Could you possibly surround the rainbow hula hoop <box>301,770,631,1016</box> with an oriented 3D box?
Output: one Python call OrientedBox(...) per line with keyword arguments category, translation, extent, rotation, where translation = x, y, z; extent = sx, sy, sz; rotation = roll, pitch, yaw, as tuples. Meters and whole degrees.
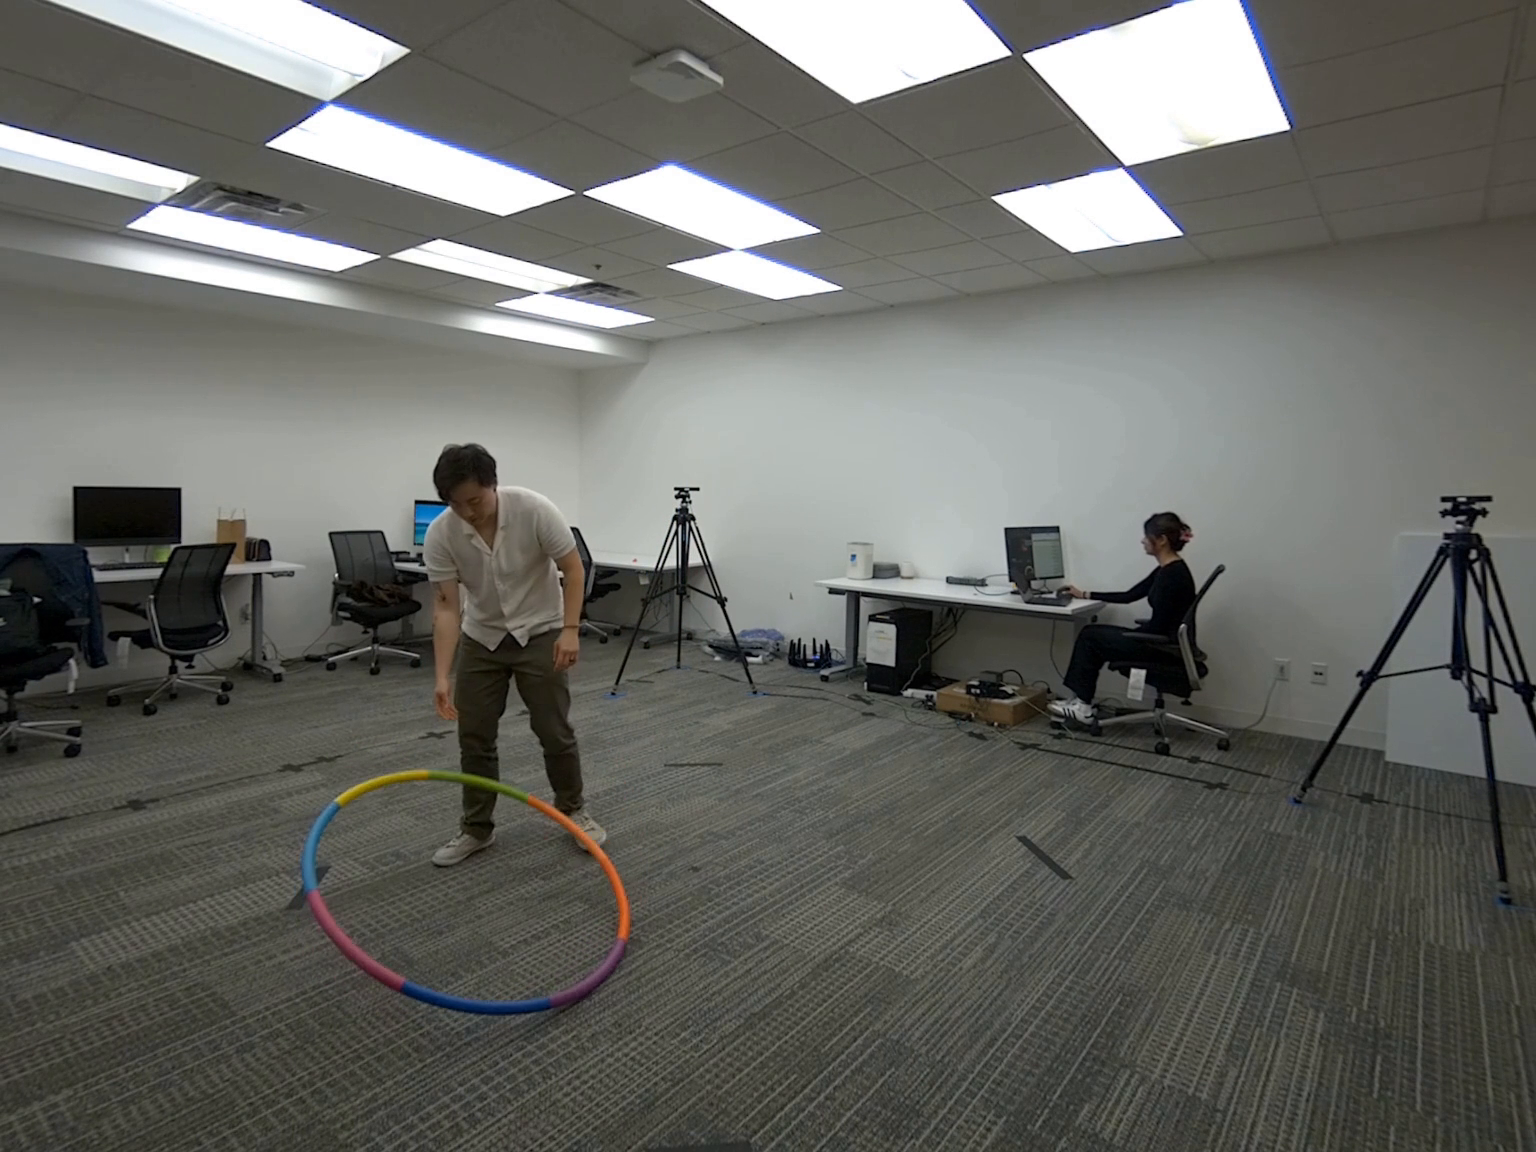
OrientedBox(category="rainbow hula hoop", translation=(-0.881, 0.904, 2.550), extent=(0.971, 0.035, 0.992), rotation=(22, 13, -7))
